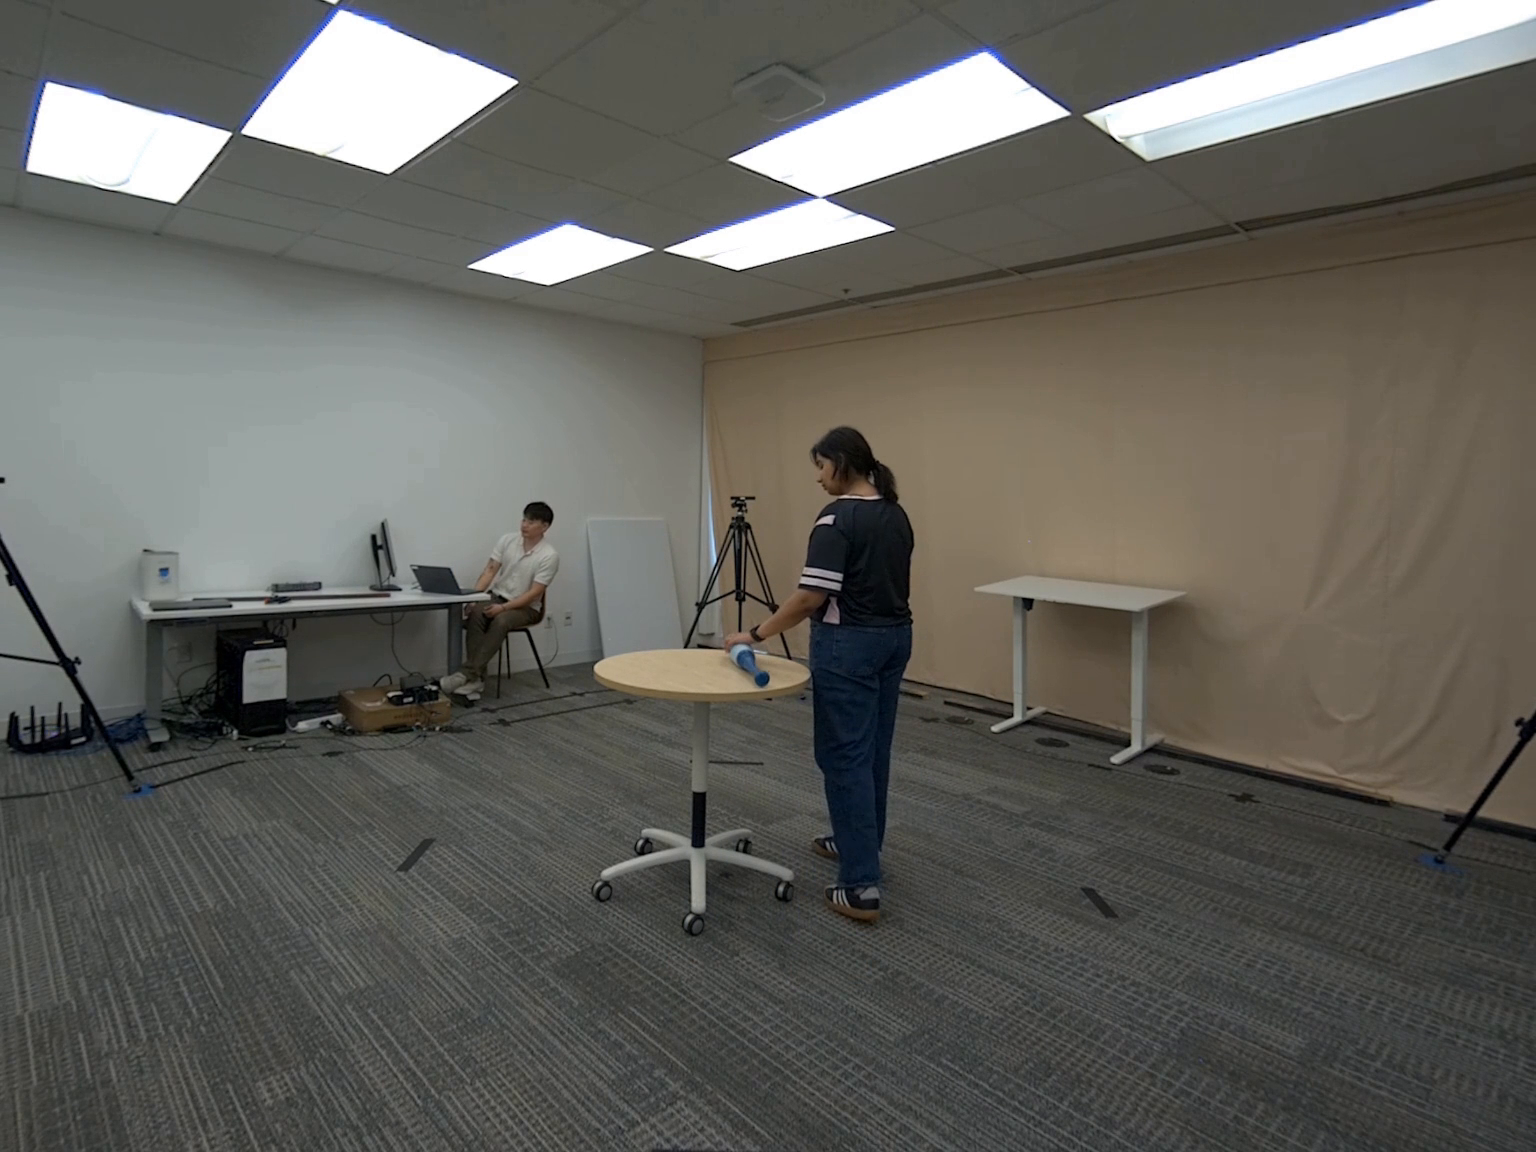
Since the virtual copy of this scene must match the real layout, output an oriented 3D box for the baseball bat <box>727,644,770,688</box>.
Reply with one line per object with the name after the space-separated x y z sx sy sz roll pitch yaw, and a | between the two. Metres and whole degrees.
-0.059 0.297 2.955 0.088 0.088 0.549 1 7 -11 | baseball bat
